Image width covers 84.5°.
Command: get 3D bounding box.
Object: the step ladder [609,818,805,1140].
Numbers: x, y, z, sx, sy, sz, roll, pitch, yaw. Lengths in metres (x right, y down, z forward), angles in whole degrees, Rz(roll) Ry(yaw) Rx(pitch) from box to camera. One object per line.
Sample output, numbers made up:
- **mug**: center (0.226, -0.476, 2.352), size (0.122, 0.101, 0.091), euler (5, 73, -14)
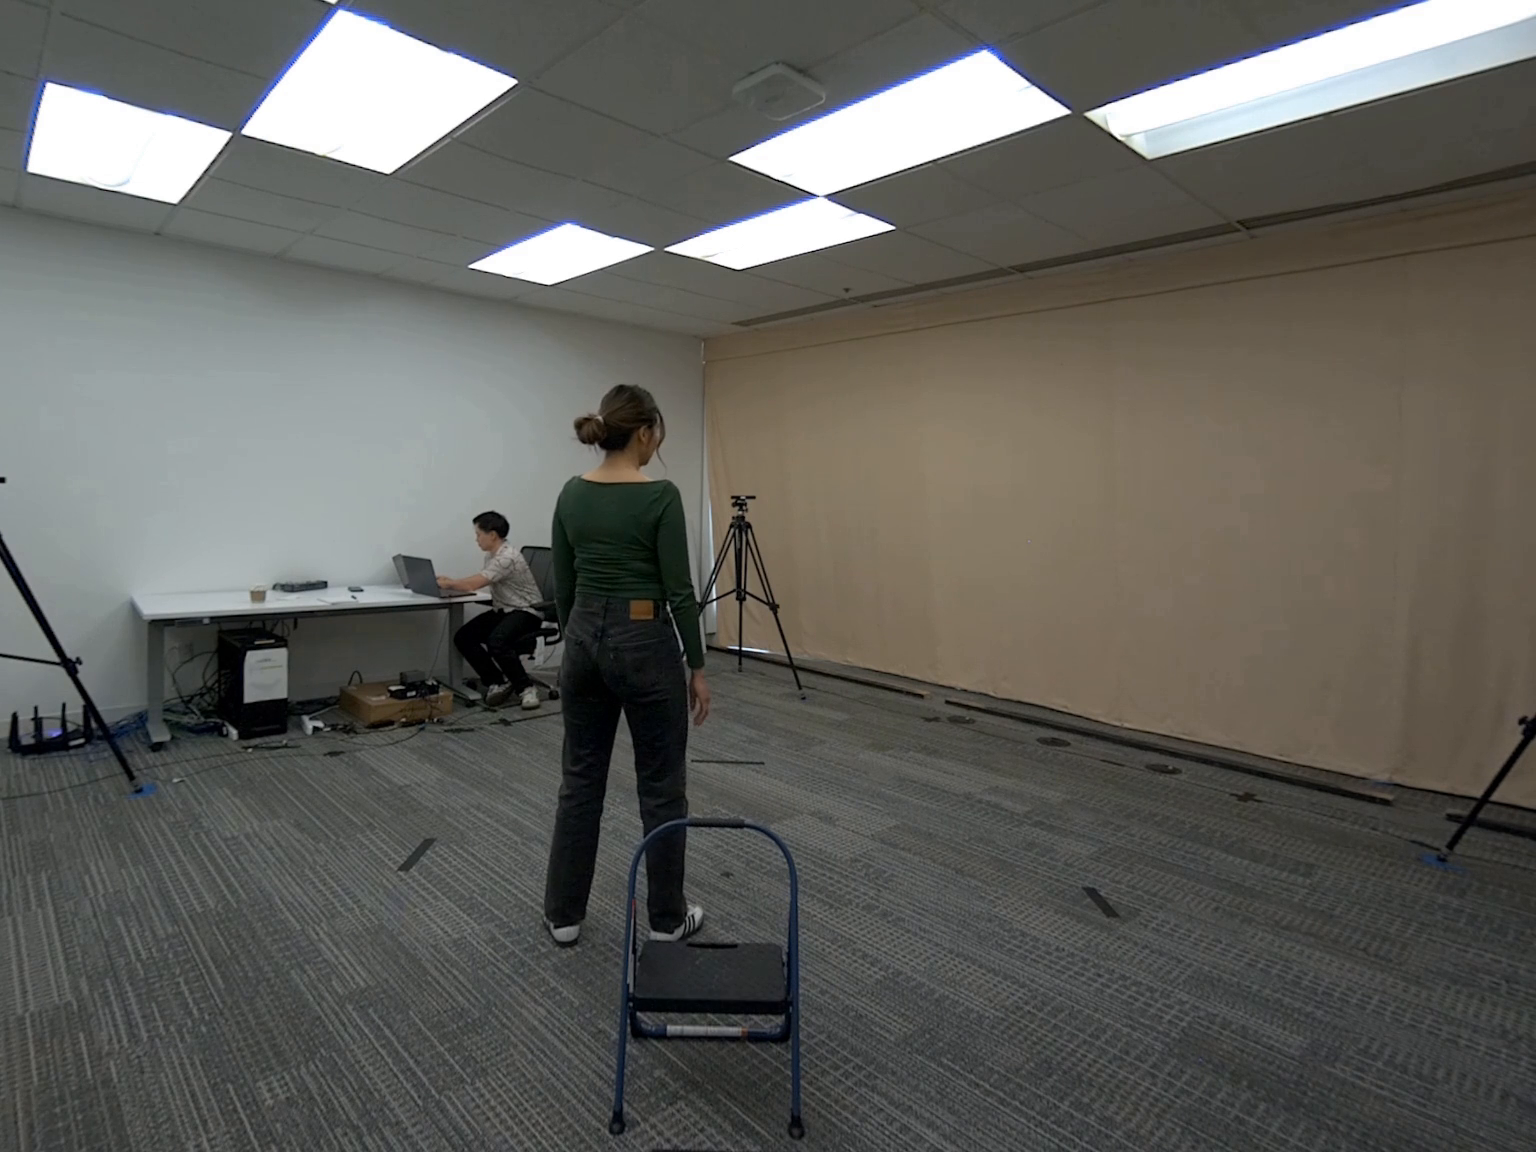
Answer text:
- **step ladder**: center (-0.134, 0.907, 1.989), size (0.430, 0.604, 0.350), euler (2, 3, -2)
